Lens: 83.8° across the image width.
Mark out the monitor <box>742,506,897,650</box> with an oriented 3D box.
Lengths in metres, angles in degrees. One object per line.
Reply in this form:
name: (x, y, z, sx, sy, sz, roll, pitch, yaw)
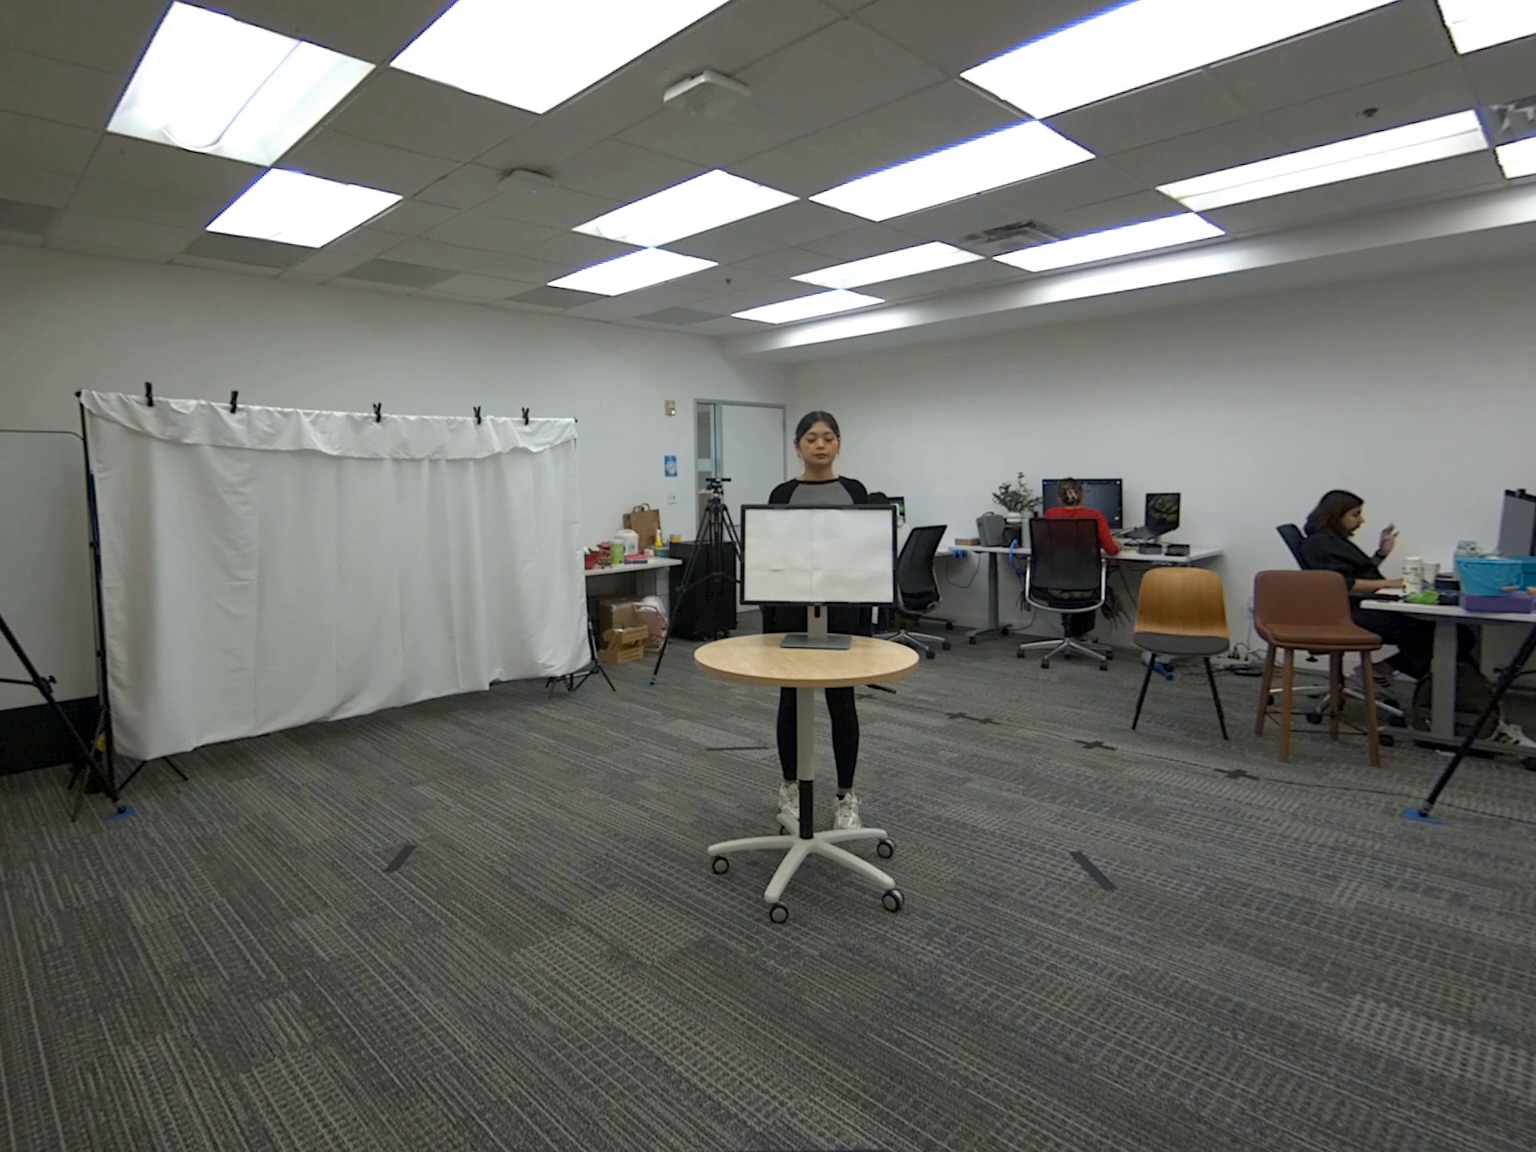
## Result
monitor: (0.169, 0.002, 3.103, 0.540, 0.520, 0.187, 0, 5, 3)
